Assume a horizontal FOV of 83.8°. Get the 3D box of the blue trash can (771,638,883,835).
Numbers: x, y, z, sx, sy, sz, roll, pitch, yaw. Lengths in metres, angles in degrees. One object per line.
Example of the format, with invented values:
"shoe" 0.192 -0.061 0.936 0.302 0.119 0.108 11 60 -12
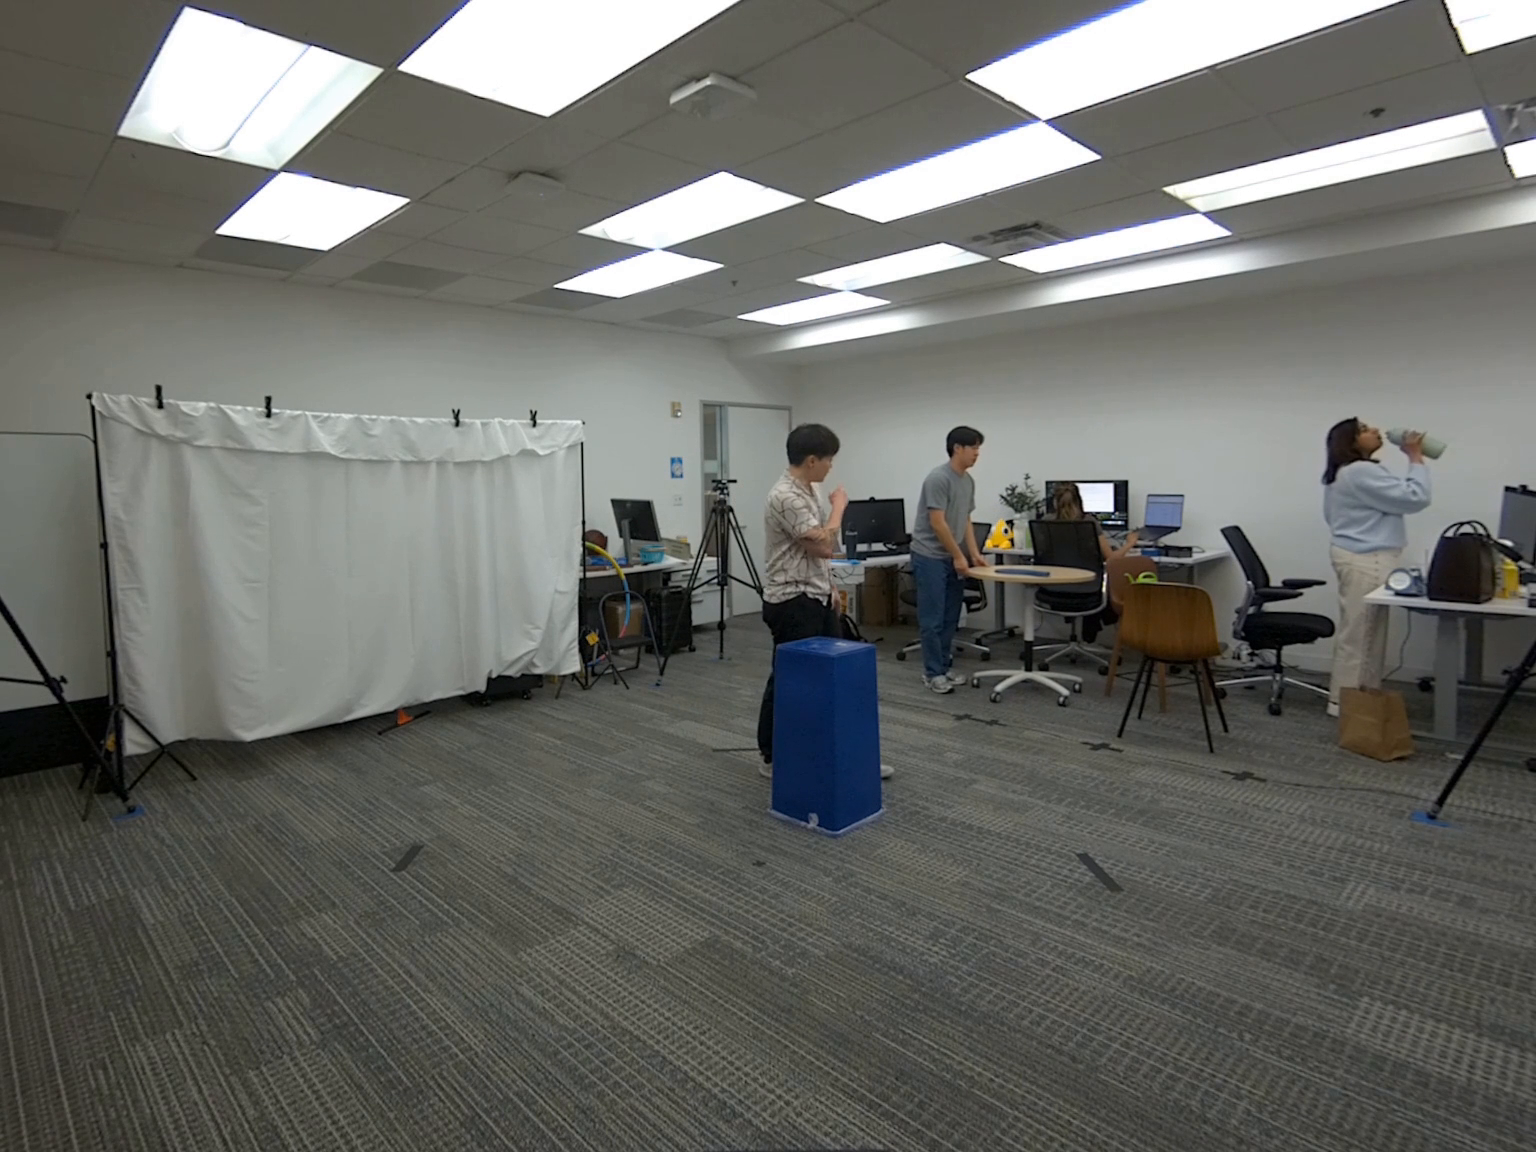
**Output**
"blue trash can" 0.249 0.641 3.549 0.390 0.711 0.364 4 6 43
